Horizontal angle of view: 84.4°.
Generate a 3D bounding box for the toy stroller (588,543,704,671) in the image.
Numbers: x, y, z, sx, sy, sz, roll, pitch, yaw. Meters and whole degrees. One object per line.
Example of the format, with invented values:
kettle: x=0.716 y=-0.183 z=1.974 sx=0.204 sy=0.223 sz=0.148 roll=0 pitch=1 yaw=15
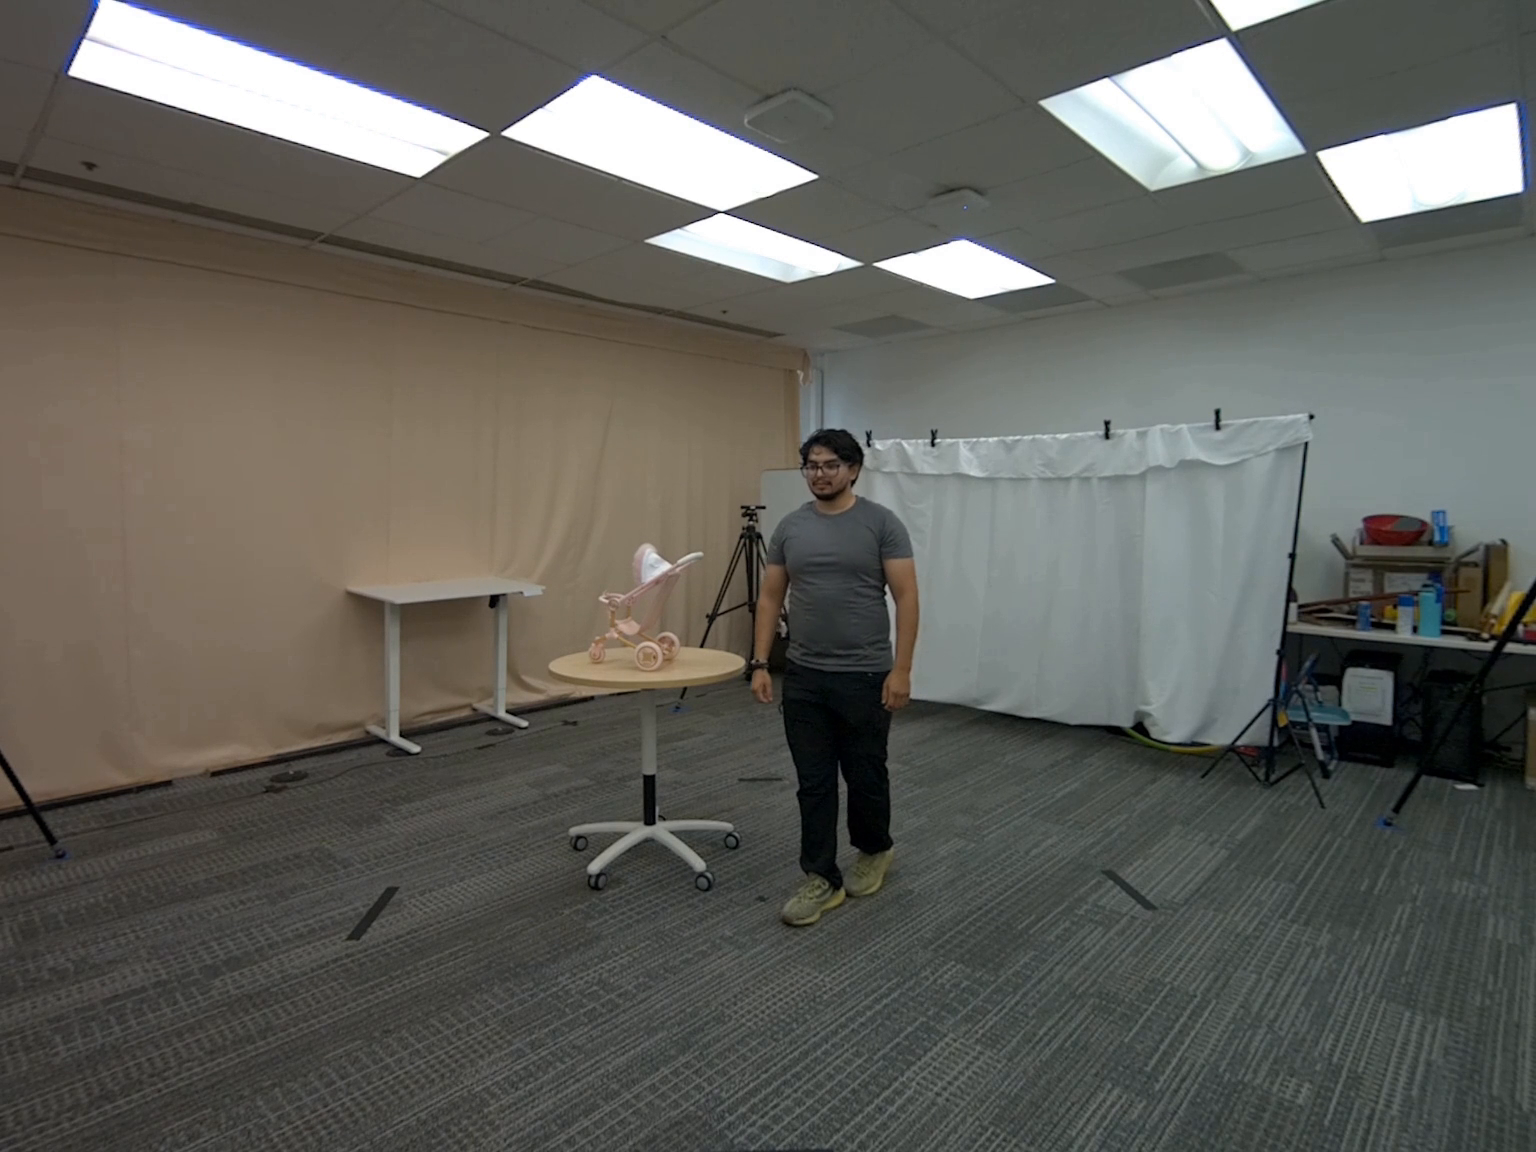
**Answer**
toy stroller: x=-0.489 y=0.120 z=3.236 sx=0.347 sy=0.534 sz=0.277 roll=17 pitch=7 yaw=14
